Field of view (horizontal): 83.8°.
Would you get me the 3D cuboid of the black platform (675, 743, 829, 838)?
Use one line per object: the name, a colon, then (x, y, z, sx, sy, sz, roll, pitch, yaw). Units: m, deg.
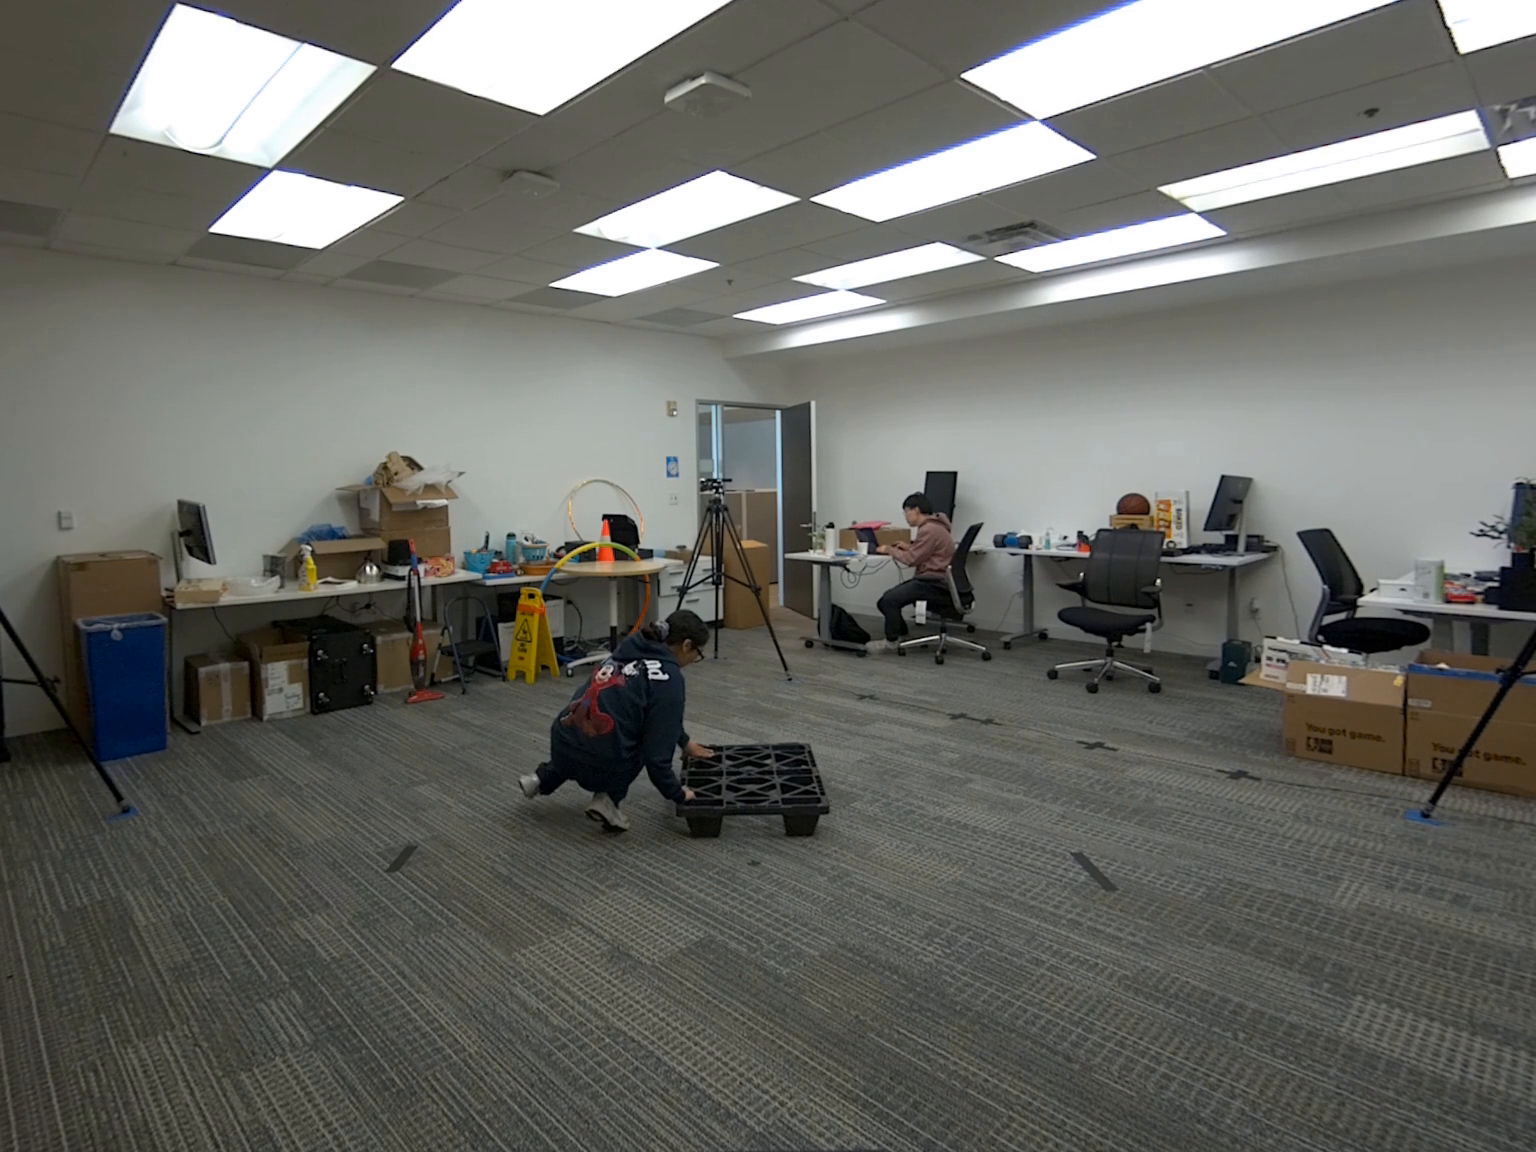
black platform: (-0.080, 0.906, 3.686, 0.605, 0.143, 0.809, -2, 6, -1)
